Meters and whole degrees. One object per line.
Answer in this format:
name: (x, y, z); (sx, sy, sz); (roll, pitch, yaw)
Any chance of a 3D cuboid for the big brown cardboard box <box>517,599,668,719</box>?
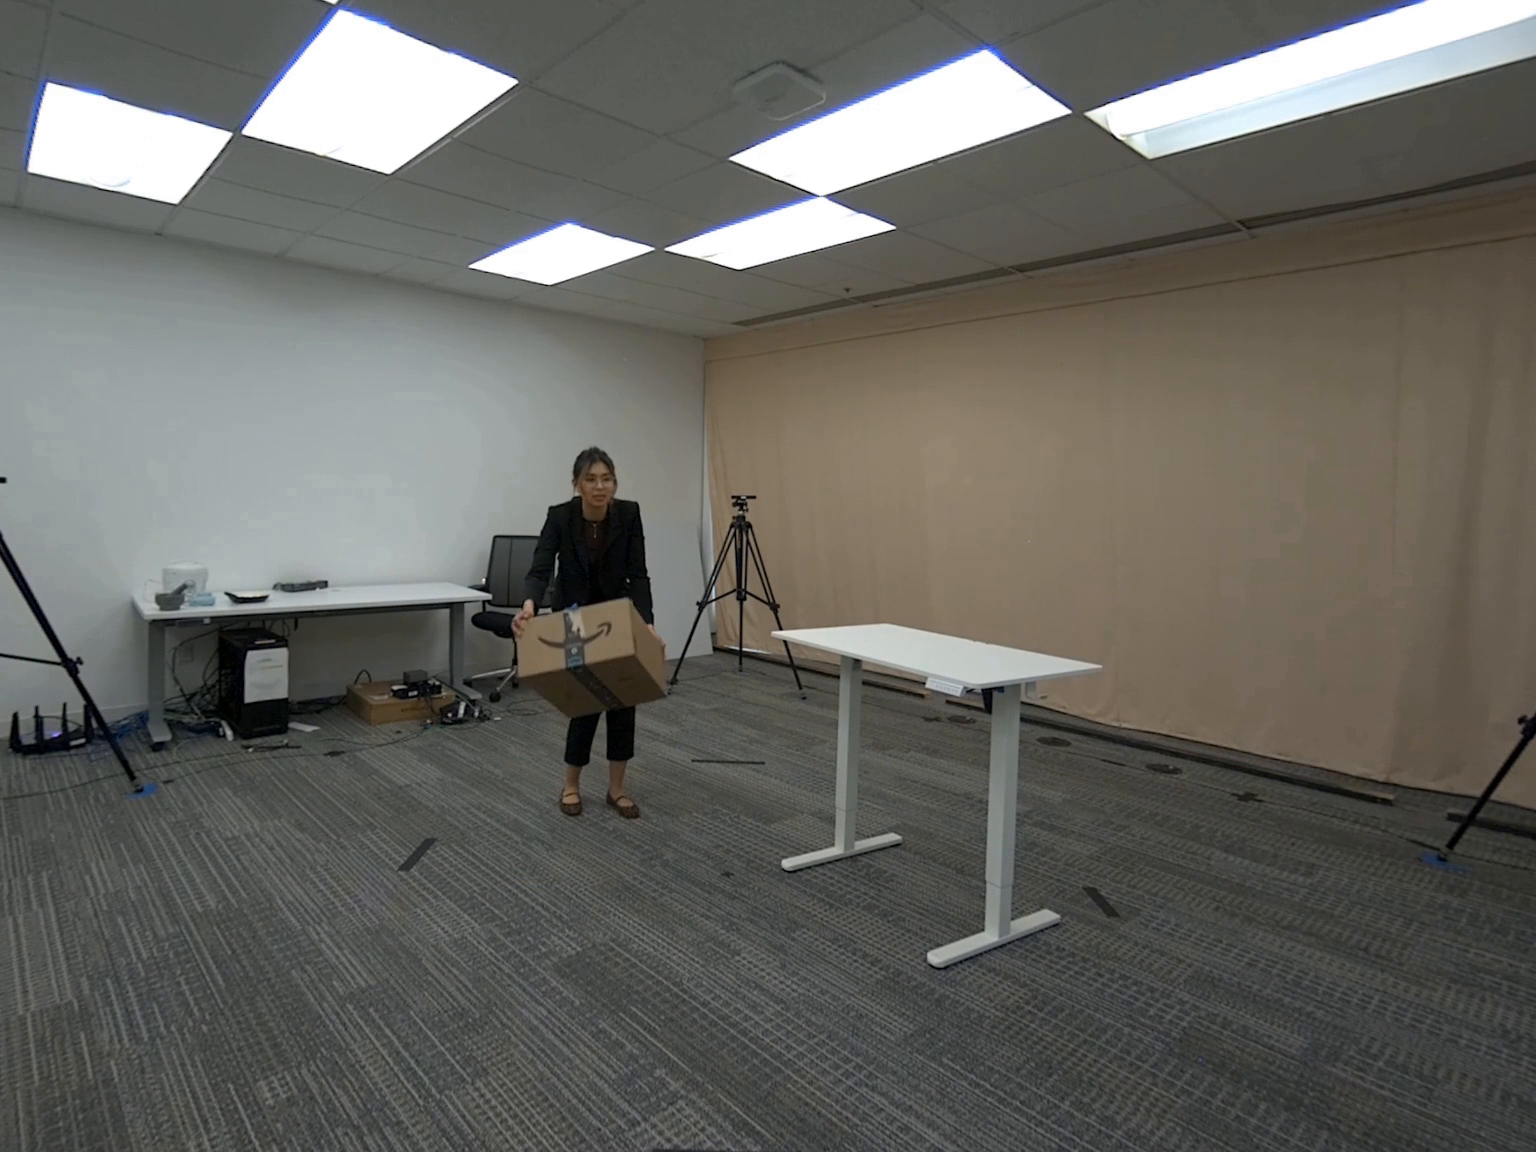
big brown cardboard box: (-0.646, 0.327, 3.184); (0.418, 0.238, 0.576); (-11, -24, 3)
